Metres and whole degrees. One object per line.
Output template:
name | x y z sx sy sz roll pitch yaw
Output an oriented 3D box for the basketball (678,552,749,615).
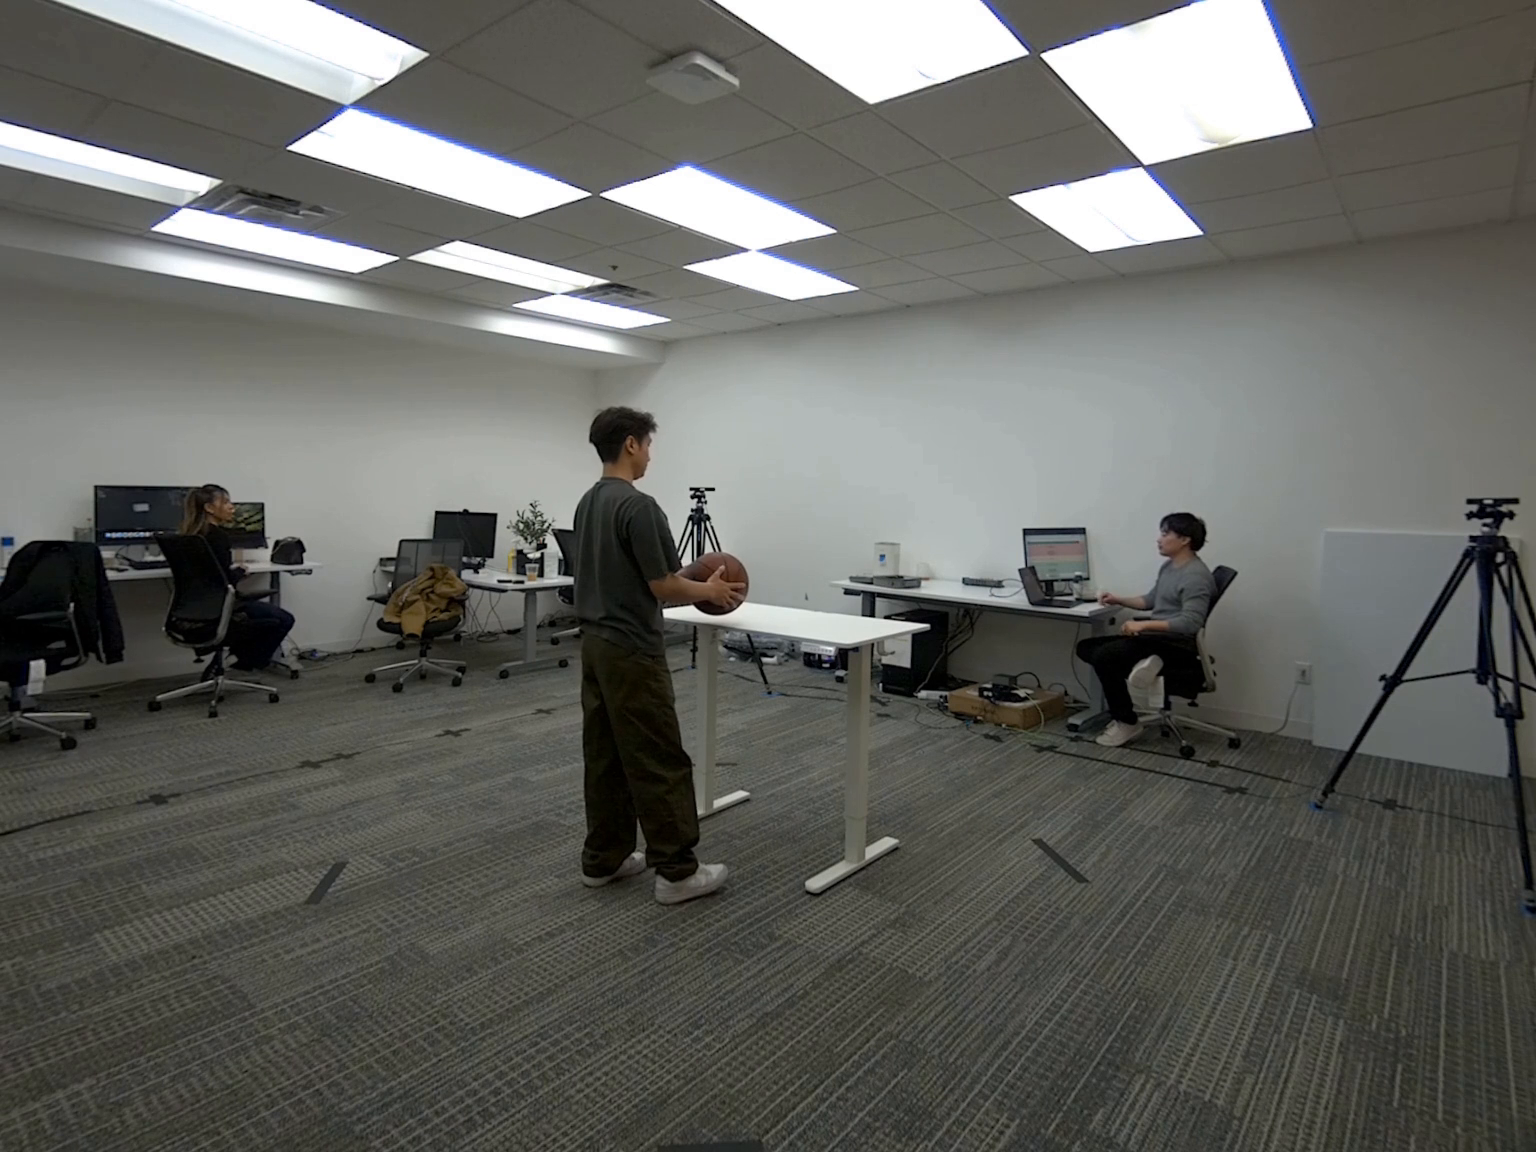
basketball | -0.198 0.028 3.168 0.235 0.235 0.237 1 4 -2
